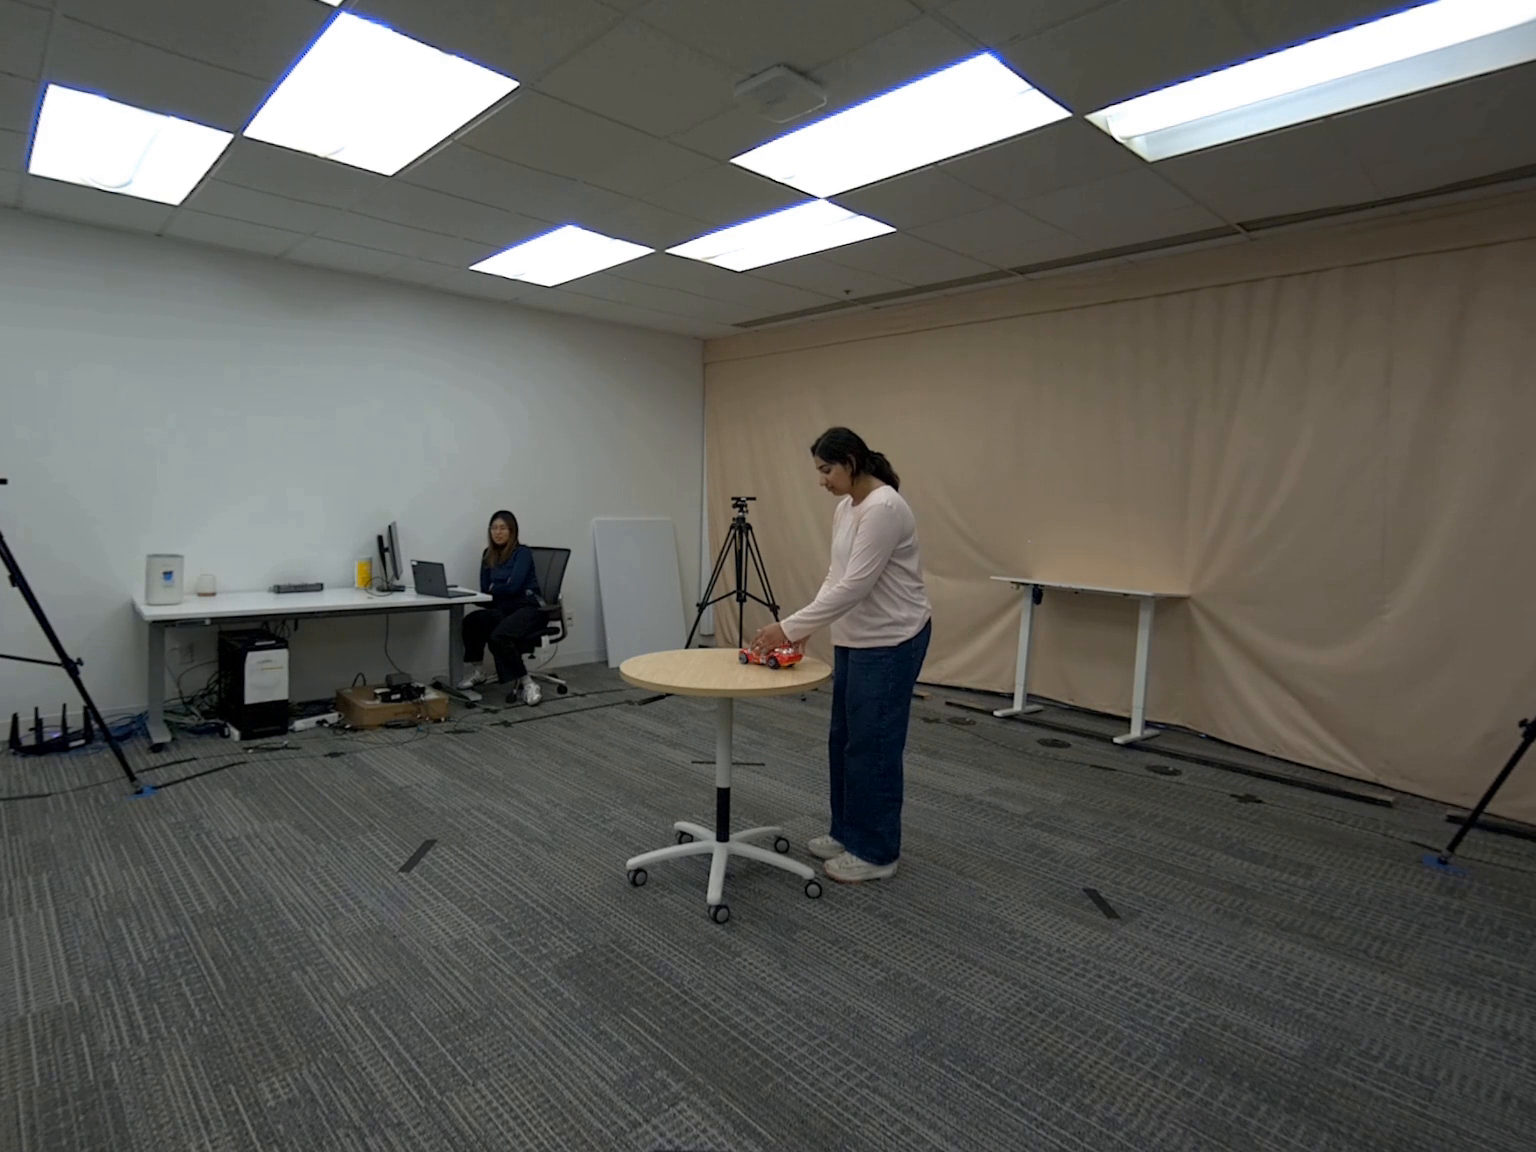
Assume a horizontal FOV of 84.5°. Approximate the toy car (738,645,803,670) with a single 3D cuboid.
[{"bbox_3d":[0.005,0.296,3.069,0.259,0.083,0.127,-9,-4,42],"label":"toy car"}]
